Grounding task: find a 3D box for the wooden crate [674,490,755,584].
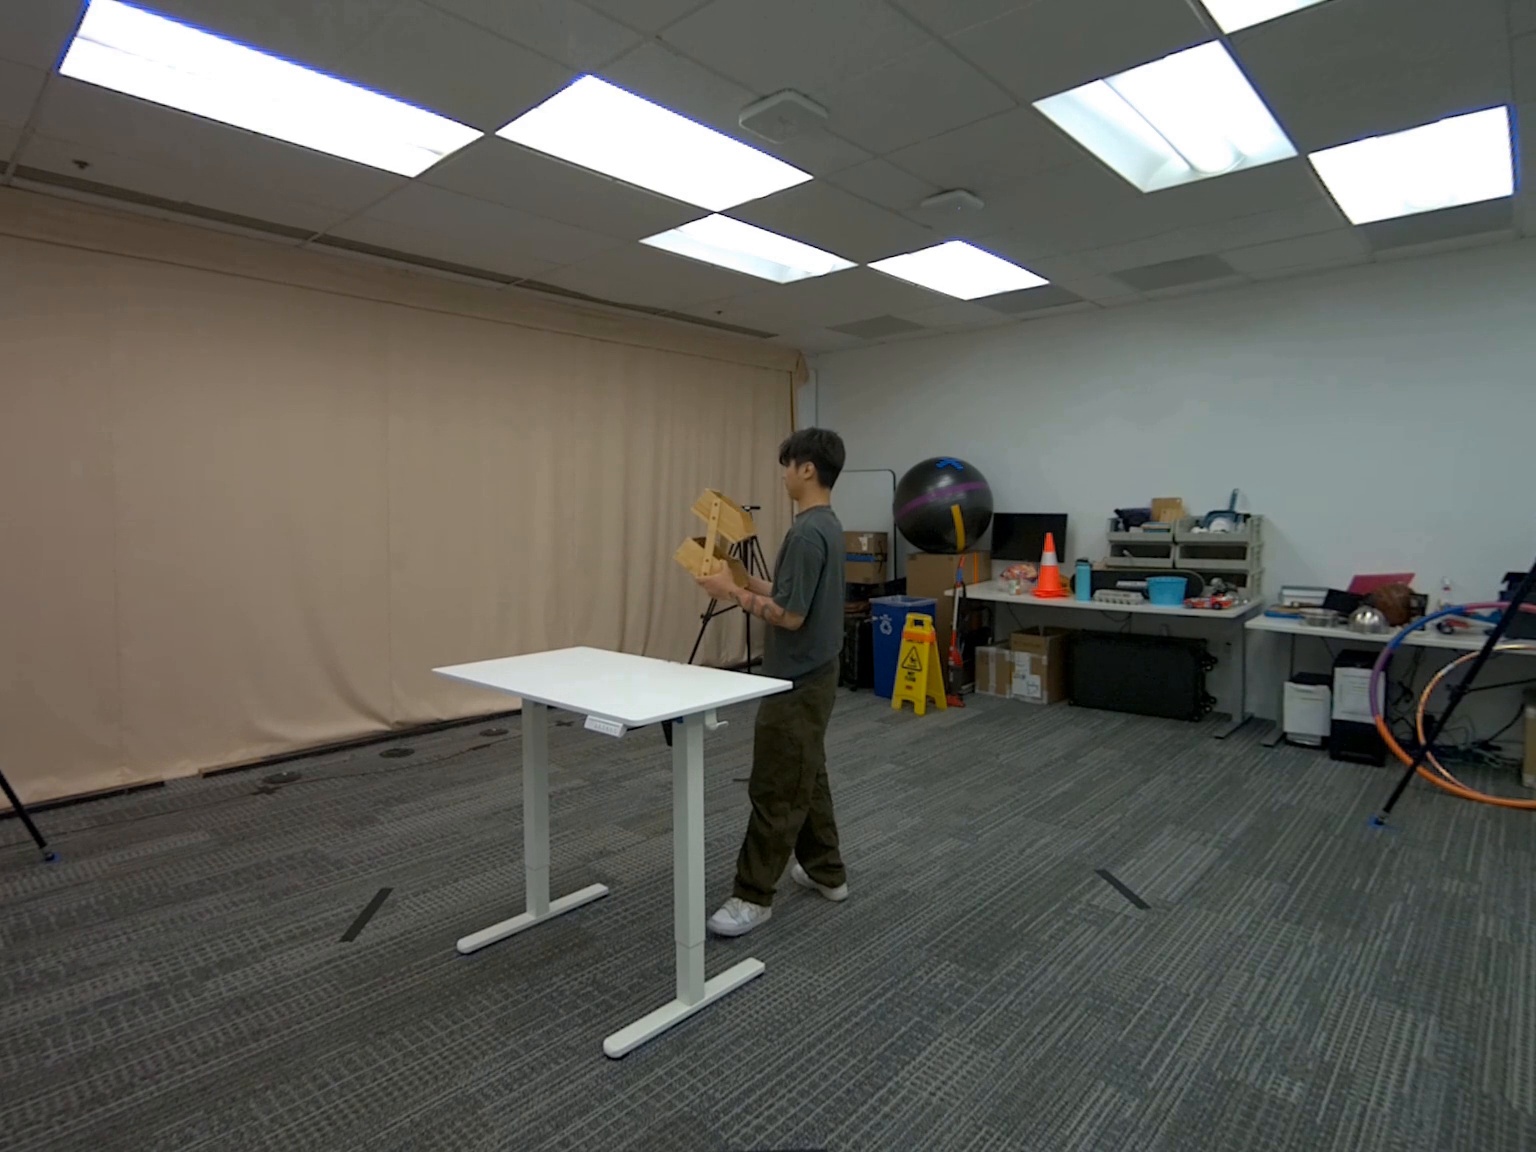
[{"bbox_3d":[-0.150,-0.115,2.998,0.304,0.273,0.322,37,6,4],"label":"wooden crate"}]
